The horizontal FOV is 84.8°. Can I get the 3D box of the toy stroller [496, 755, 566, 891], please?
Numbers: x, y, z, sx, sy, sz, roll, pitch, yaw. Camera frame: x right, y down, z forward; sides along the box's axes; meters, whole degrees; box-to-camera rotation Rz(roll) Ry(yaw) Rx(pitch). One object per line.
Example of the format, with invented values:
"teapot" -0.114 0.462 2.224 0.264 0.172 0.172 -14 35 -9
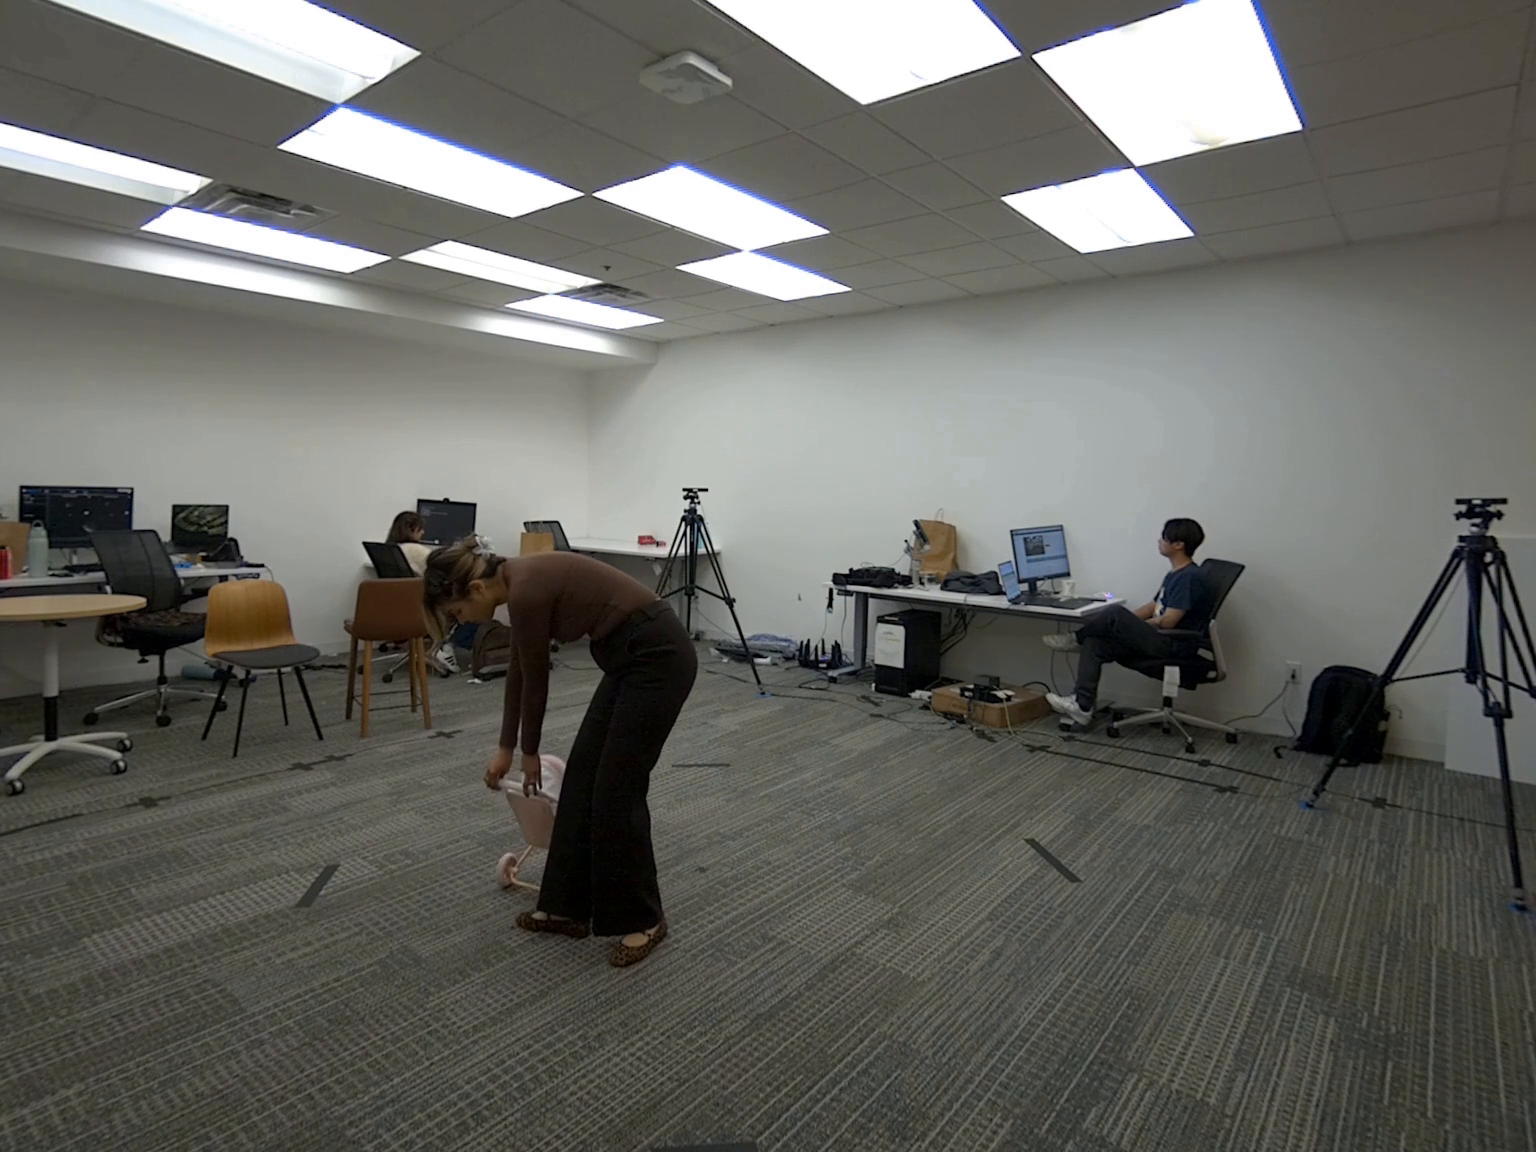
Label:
"toy stroller" -0.764 0.850 2.945 0.289 0.525 0.339 5 21 24
